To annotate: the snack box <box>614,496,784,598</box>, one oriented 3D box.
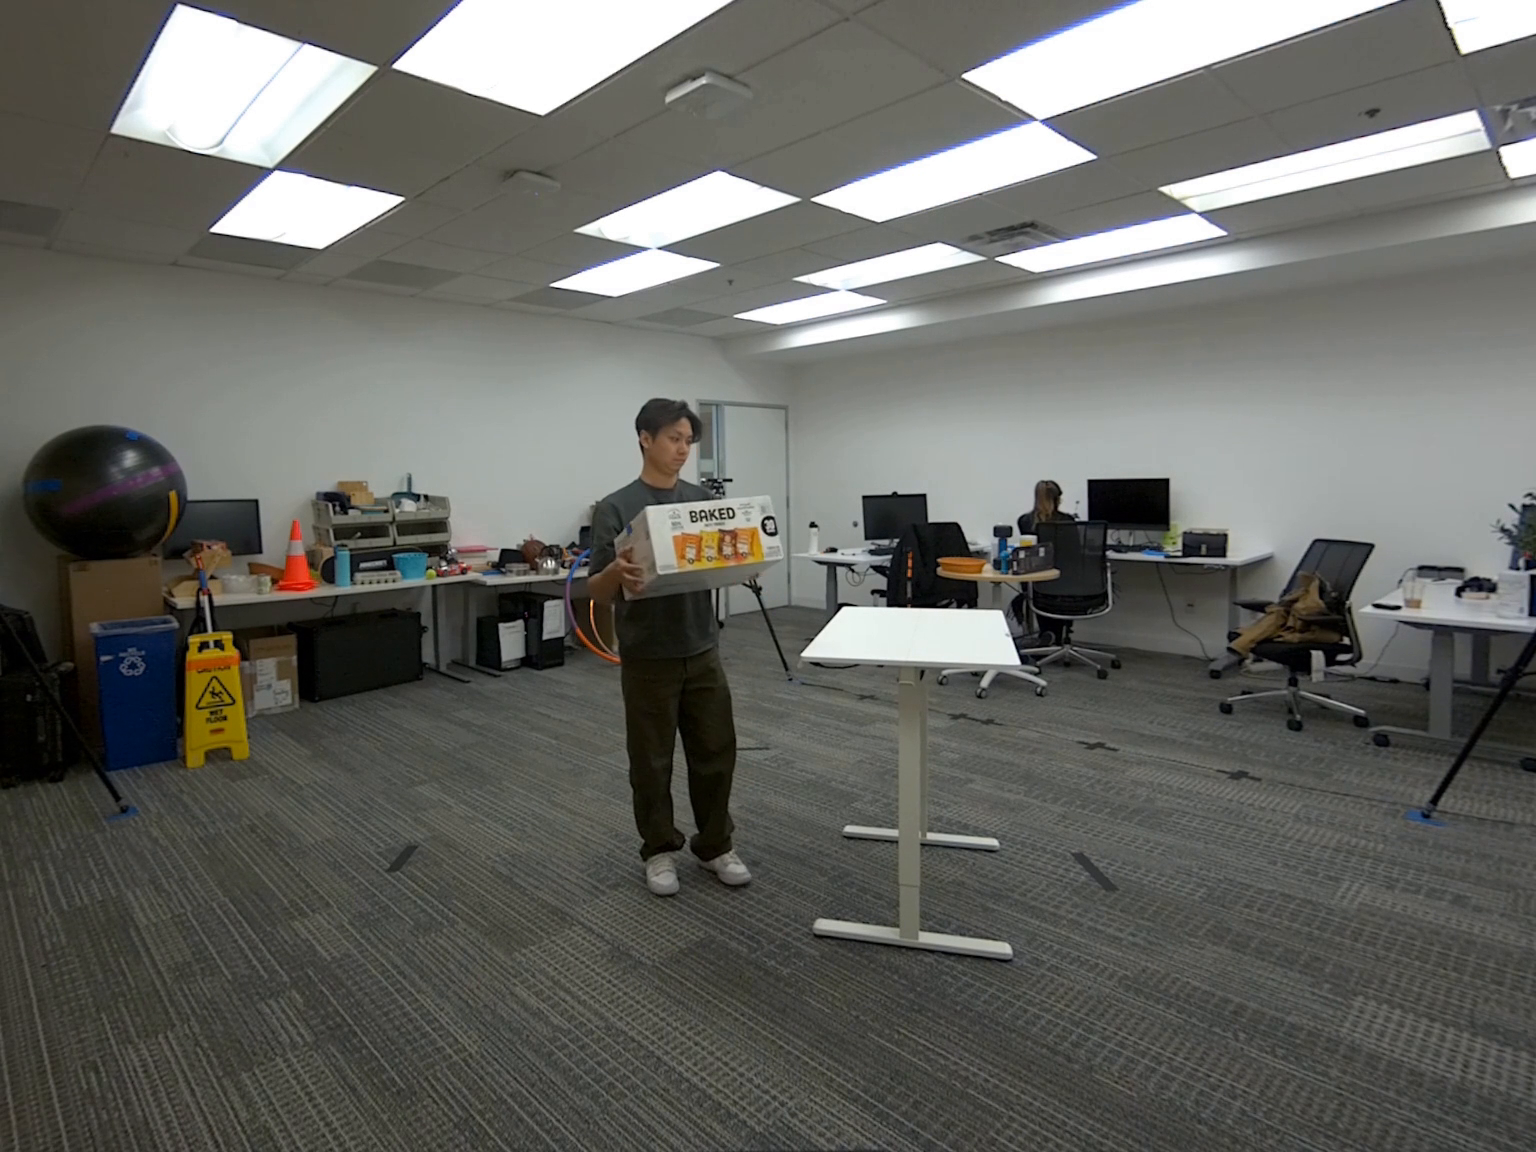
[{"bbox_3d":[-0.221,-0.083,2.632,0.397,0.208,0.343,-8,-12,-26],"label":"snack box"}]
